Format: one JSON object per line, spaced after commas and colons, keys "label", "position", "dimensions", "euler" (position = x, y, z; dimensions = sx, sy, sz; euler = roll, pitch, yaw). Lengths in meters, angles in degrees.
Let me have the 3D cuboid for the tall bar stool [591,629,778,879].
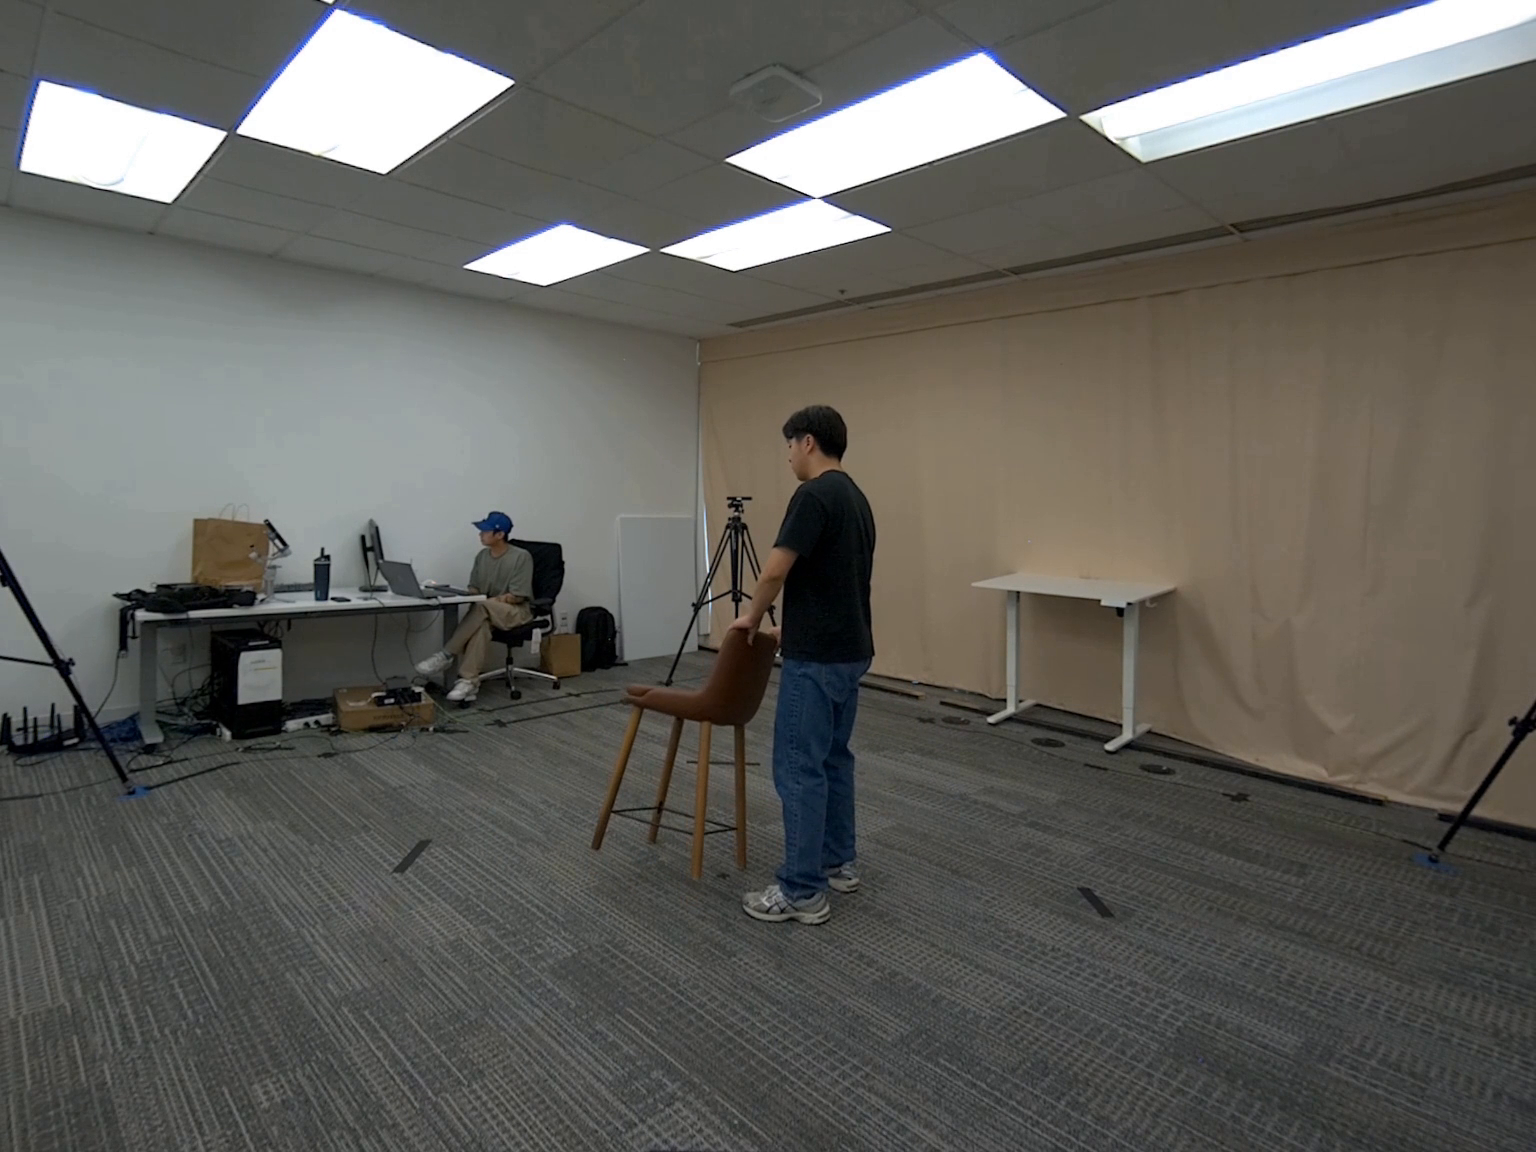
{"label": "tall bar stool", "position": [-0.292, 0.626, 3.193], "dimensions": [0.478, 0.894, 0.444], "euler": [6, -9, 29]}
